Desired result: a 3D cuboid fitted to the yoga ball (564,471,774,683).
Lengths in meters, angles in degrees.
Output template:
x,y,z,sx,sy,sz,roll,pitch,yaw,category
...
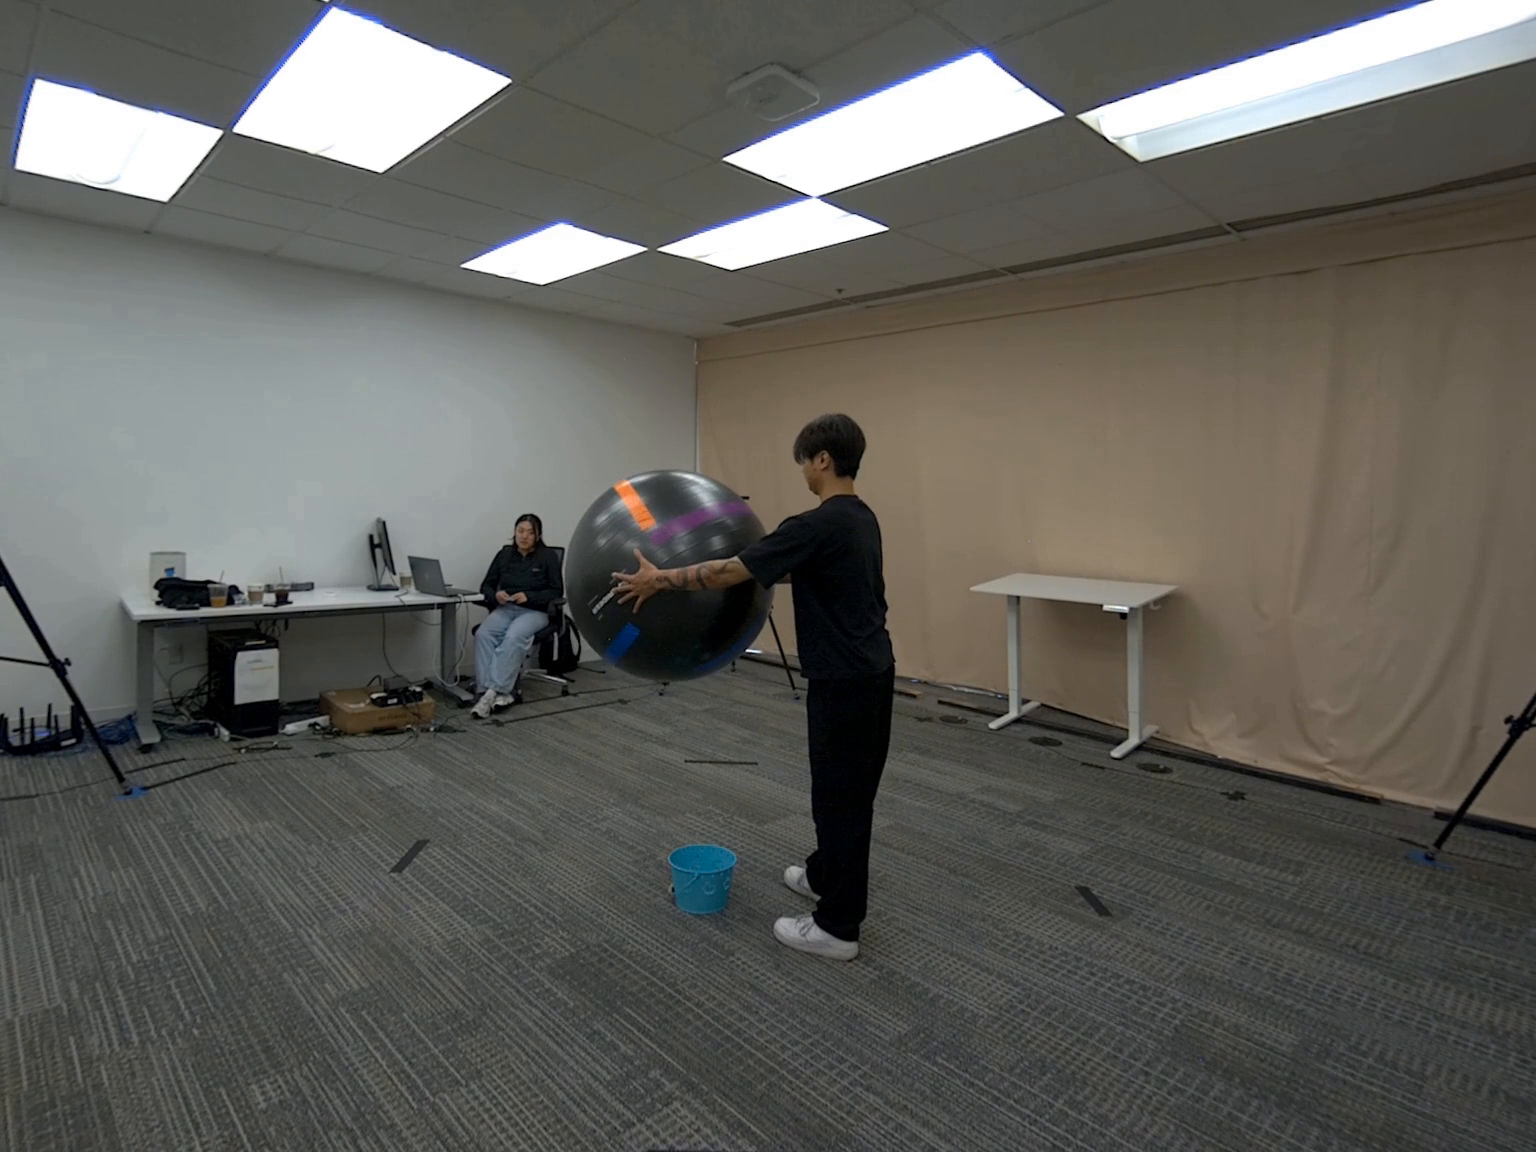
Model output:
x,y,z,sx,sy,sz,roll,pitch,yaw,category
-0.357,0.005,3.043,0.757,0.756,0.761,1,4,-1,yoga ball
